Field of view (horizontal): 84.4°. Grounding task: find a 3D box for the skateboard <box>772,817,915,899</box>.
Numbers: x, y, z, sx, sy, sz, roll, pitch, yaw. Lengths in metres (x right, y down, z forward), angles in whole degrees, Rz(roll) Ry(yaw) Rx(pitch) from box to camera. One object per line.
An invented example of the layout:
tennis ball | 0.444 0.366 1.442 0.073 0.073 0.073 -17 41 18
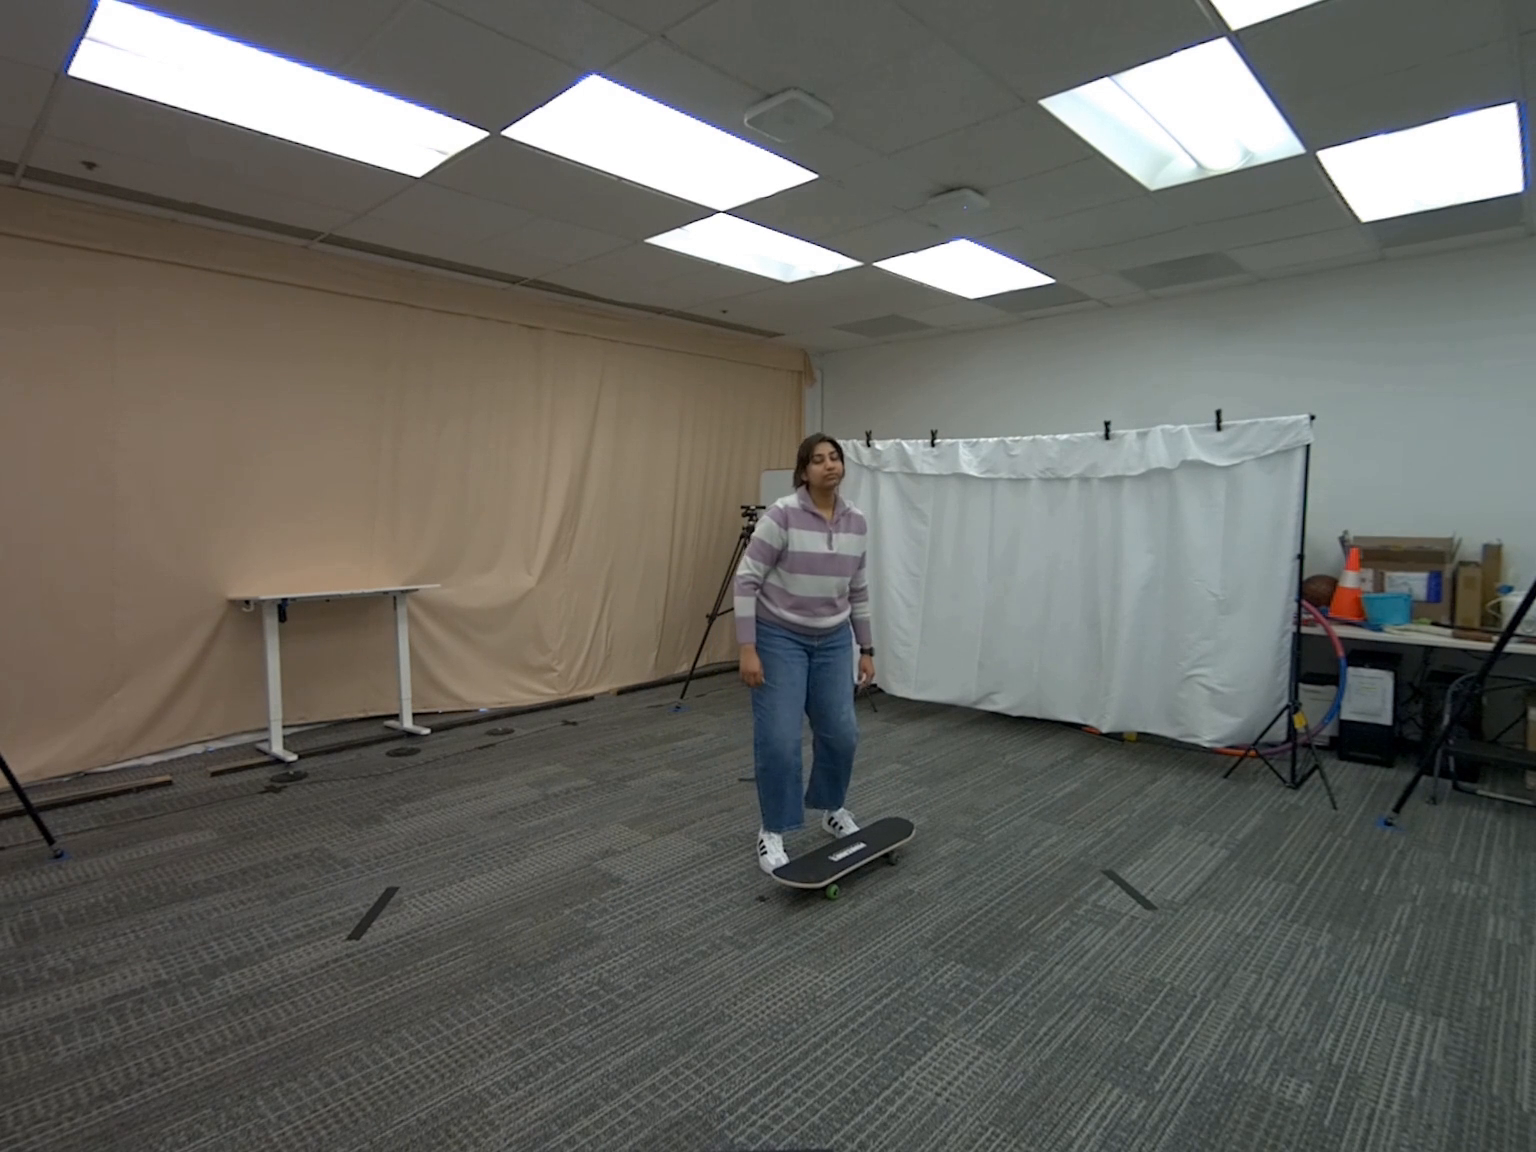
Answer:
skateboard | 0.302 1.070 3.177 0.200 0.110 0.762 3 6 42
